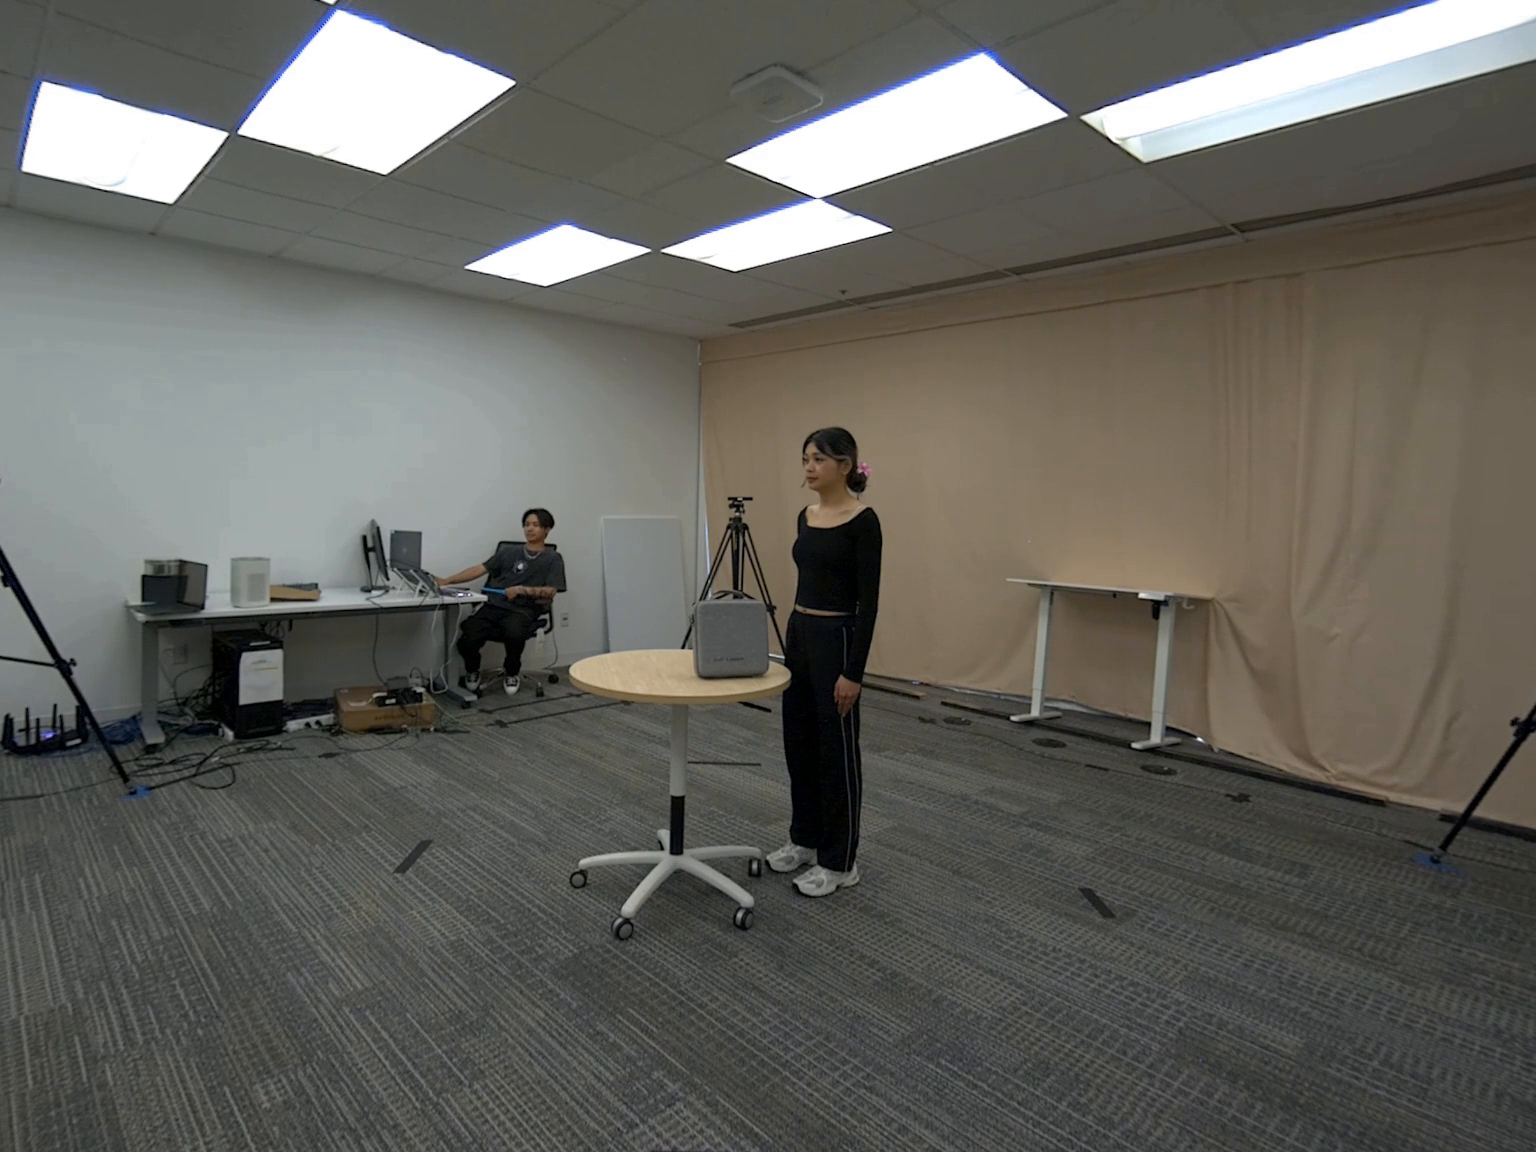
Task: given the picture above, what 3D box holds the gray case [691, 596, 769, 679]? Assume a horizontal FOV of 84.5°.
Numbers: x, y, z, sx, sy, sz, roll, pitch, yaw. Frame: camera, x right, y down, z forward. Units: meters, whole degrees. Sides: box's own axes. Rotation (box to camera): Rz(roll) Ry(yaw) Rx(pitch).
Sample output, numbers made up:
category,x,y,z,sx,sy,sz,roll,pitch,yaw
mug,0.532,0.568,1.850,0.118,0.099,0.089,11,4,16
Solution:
category,x,y,z,sx,sy,sz,roll,pitch,yaw
gray case,-0.137,0.208,2.851,0.253,0.262,0.105,0,-7,-18
